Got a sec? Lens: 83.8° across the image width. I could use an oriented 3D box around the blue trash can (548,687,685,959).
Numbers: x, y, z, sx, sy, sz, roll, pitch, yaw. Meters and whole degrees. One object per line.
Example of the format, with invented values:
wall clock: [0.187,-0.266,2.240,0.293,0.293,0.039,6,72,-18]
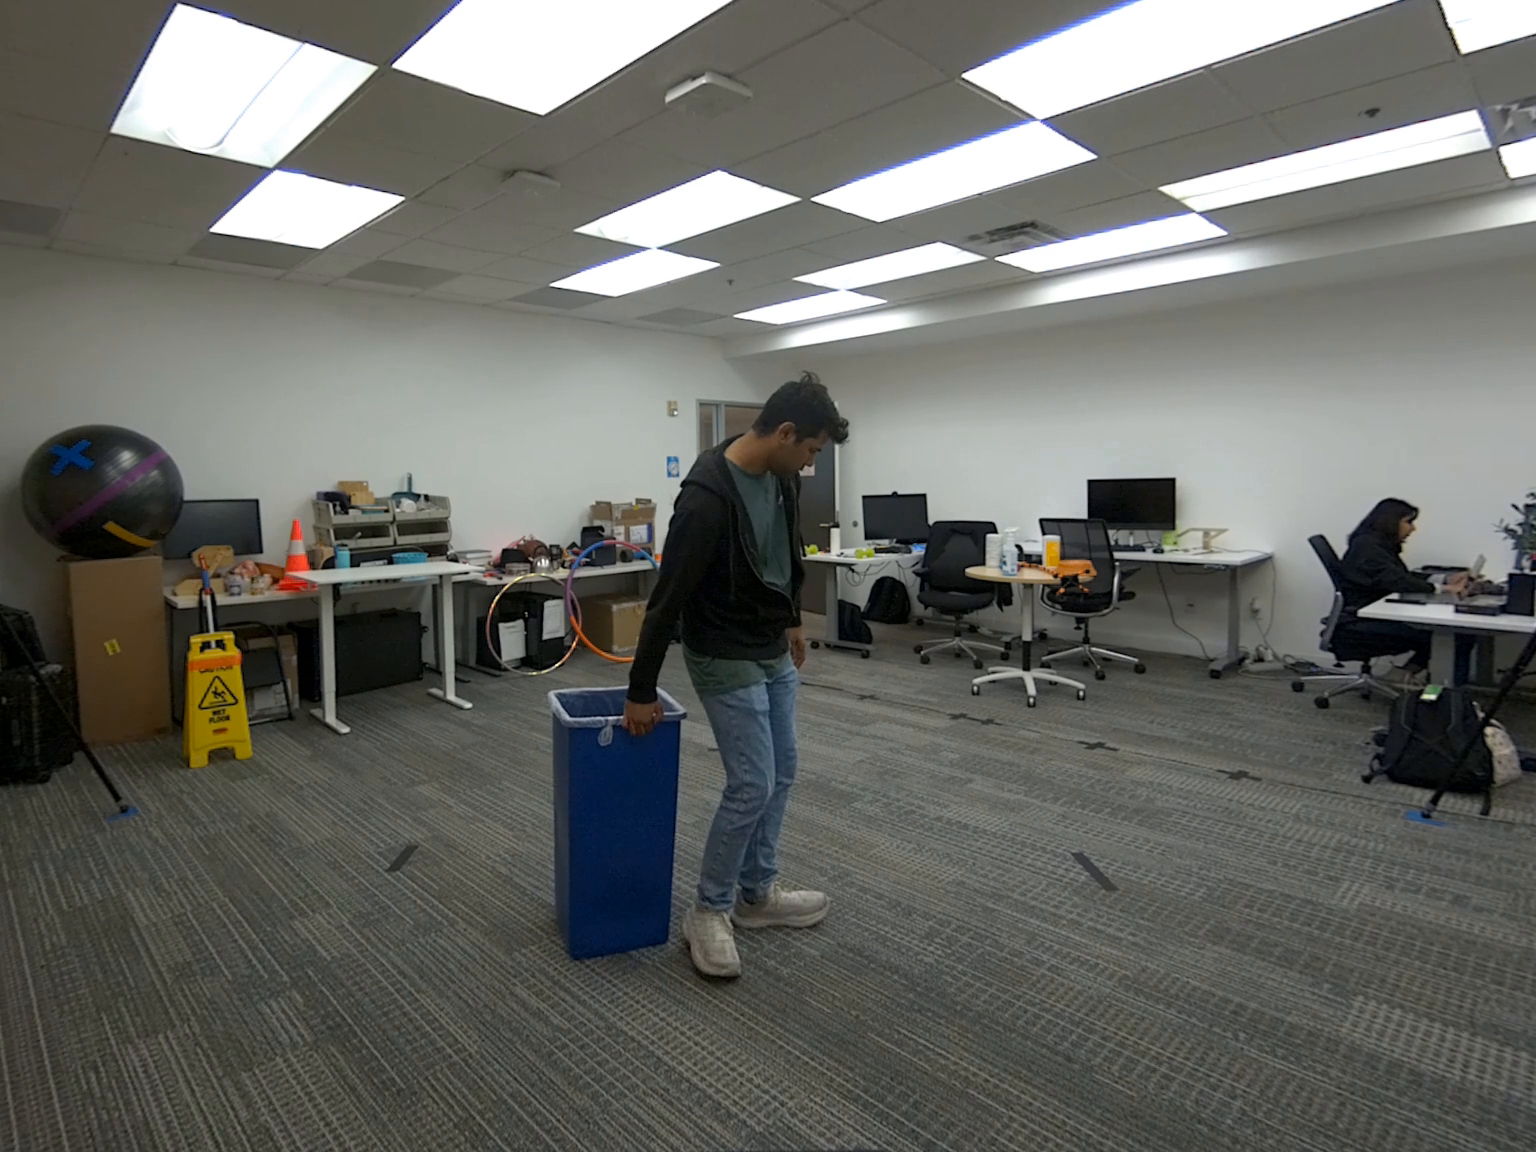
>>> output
blue trash can: [-0.471,0.741,2.657,0.367,0.711,0.386,-1,4,-22]
